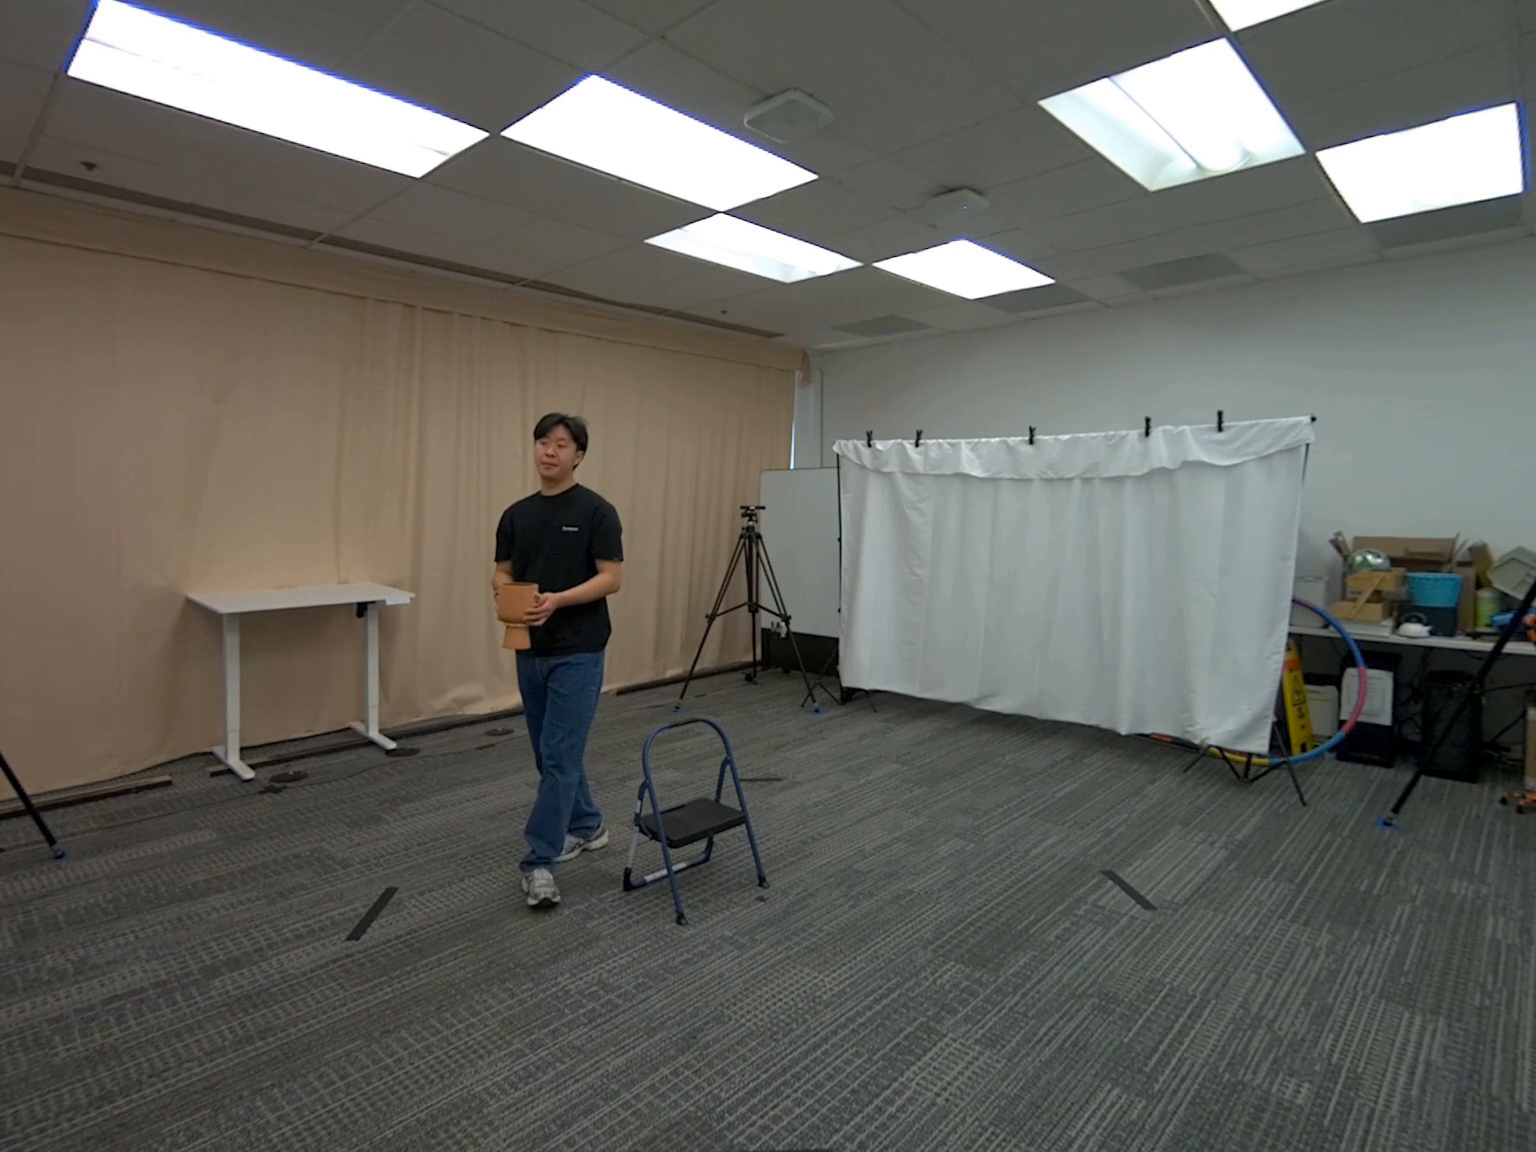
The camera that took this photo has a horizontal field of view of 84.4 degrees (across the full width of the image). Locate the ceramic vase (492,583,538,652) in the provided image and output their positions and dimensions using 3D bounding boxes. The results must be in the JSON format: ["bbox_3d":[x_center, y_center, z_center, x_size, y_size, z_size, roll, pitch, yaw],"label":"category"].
[{"bbox_3d":[-0.862,0.135,2.936,0.130,0.219,0.164,0,3,-36],"label":"ceramic vase"}]
